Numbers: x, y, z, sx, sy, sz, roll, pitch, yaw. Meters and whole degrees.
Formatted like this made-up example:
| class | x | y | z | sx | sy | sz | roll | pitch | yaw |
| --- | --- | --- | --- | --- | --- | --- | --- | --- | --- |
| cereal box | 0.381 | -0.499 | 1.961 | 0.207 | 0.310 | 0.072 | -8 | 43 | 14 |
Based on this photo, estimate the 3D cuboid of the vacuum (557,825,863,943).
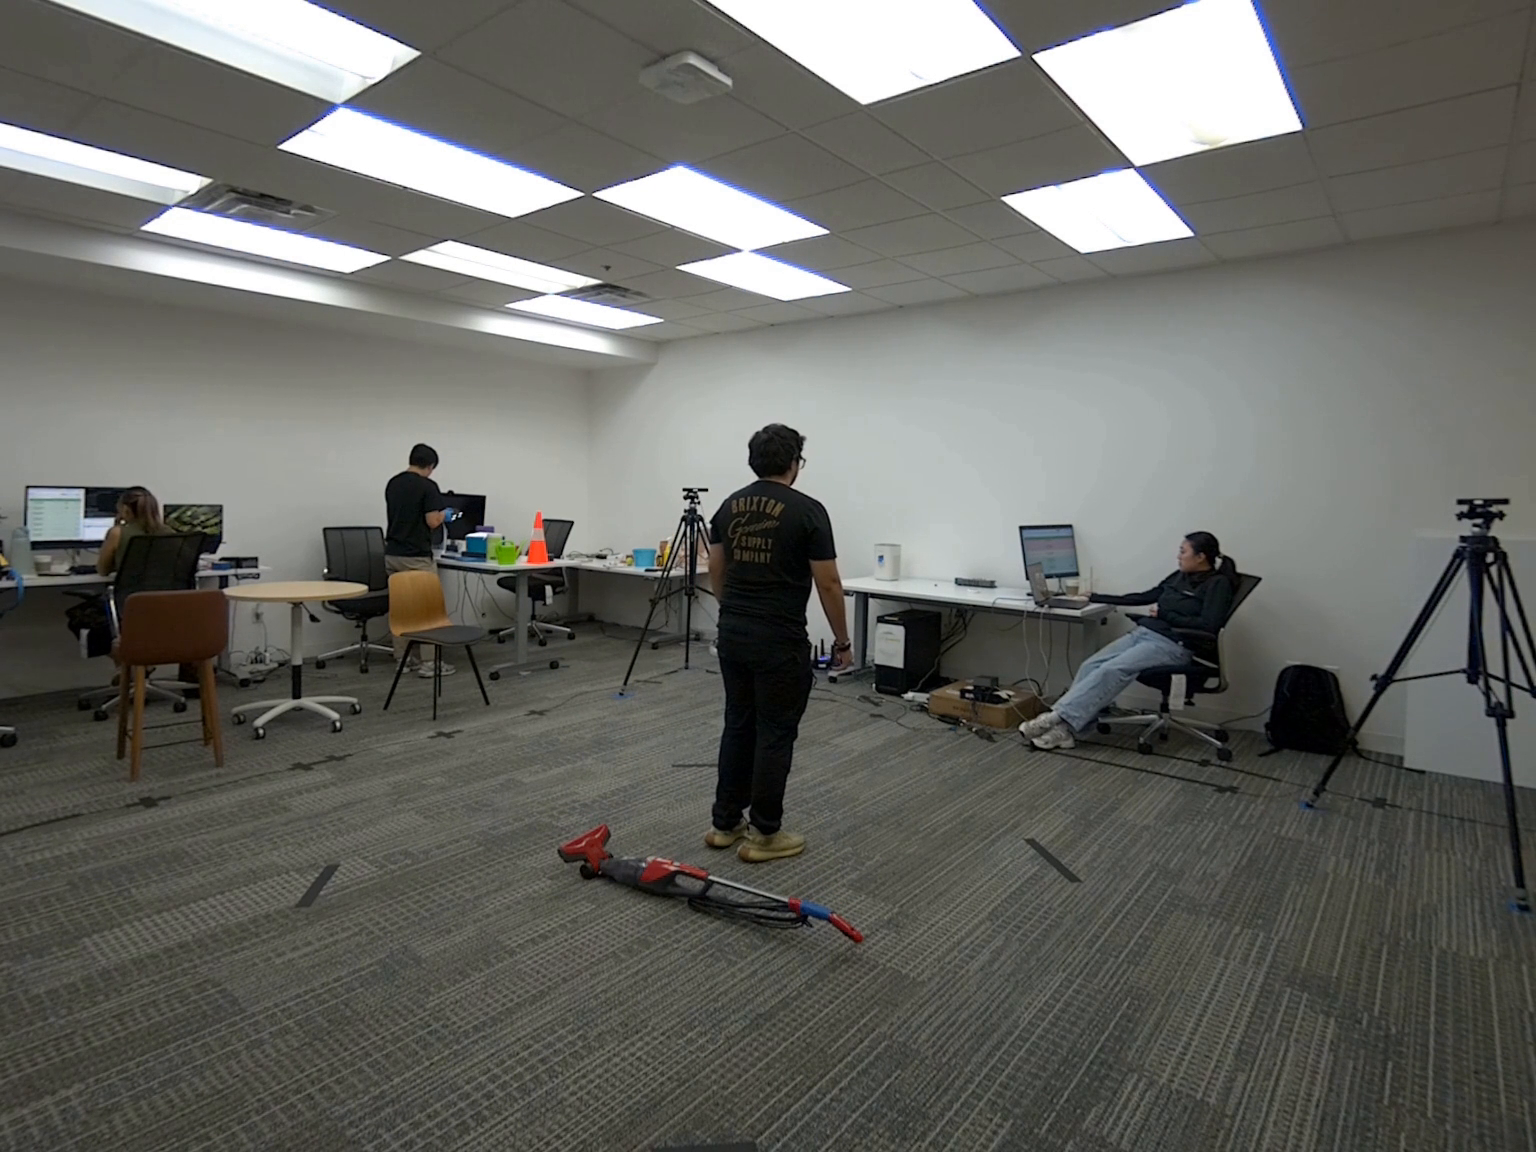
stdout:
| class | x | y | z | sx | sy | sz | roll | pitch | yaw |
| --- | --- | --- | --- | --- | --- | --- | --- | --- | --- |
| vacuum | -0.206 | 1.041 | 2.799 | 1.082 | 0.143 | 0.246 | 6 | 6 | 33 |
